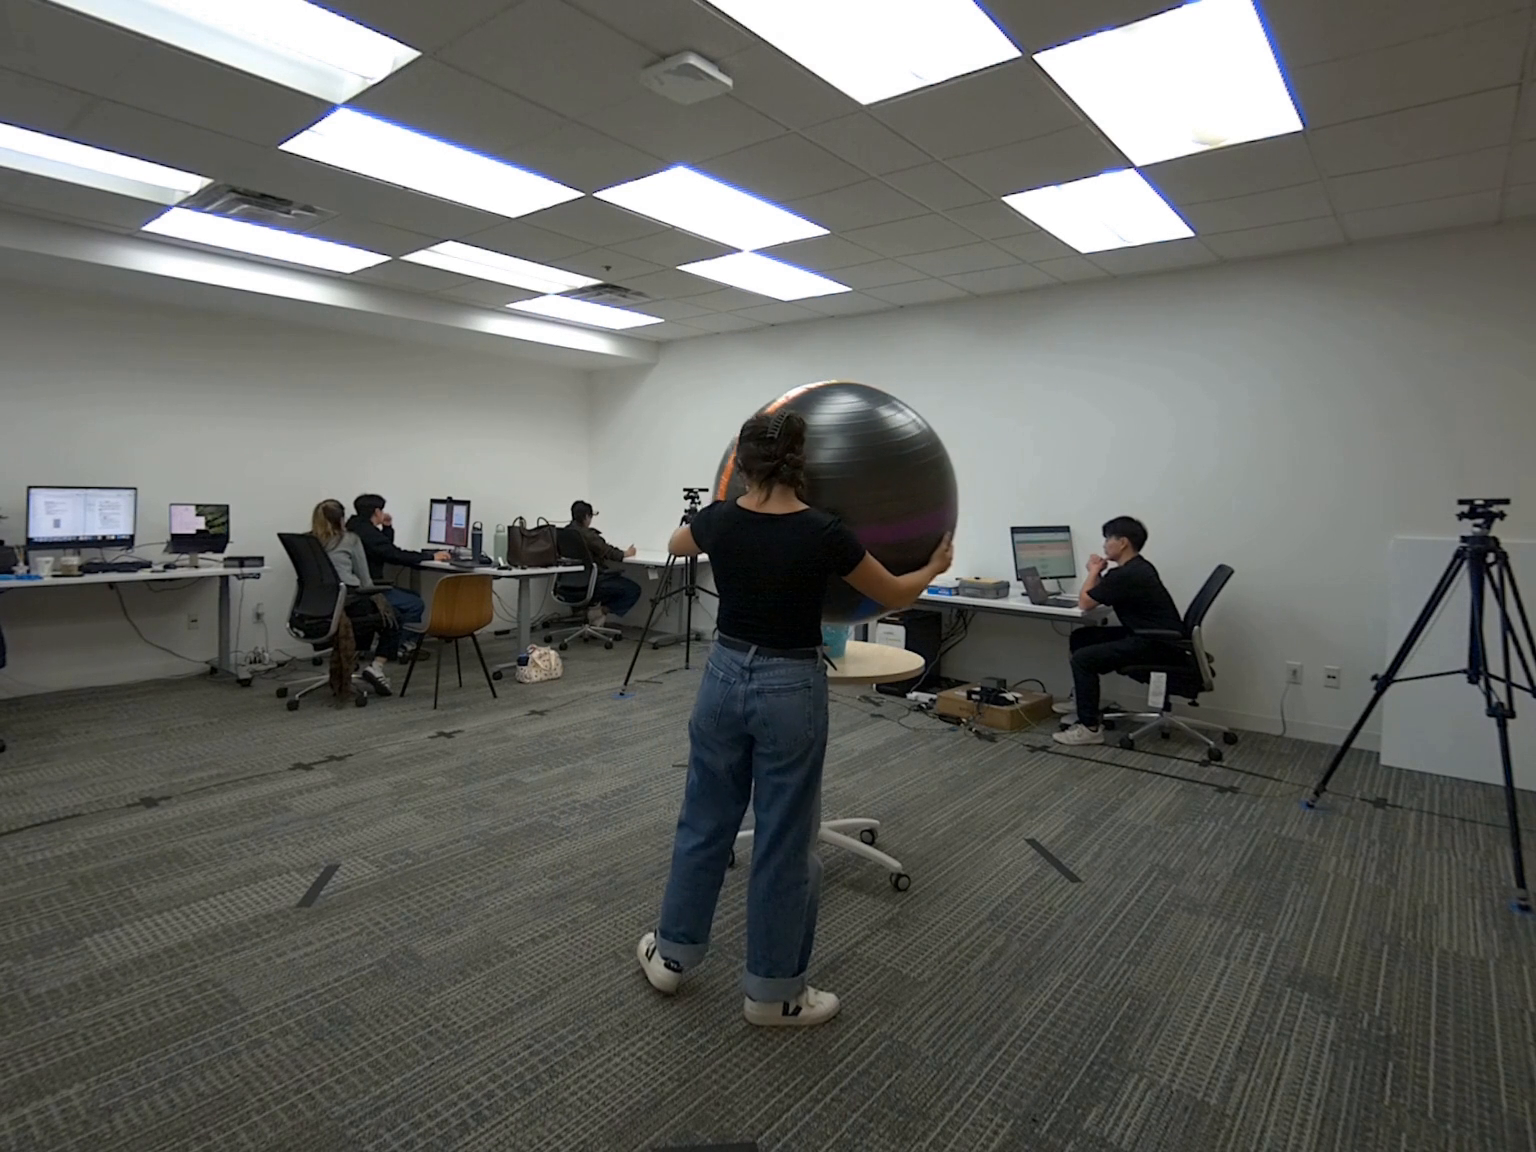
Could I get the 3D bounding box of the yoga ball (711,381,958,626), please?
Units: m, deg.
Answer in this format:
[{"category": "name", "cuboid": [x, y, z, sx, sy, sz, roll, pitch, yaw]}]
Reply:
[{"category": "yoga ball", "cuboid": [0.205, -0.221, 2.652, 0.757, 0.755, 0.762, 1, 4, -2]}]
